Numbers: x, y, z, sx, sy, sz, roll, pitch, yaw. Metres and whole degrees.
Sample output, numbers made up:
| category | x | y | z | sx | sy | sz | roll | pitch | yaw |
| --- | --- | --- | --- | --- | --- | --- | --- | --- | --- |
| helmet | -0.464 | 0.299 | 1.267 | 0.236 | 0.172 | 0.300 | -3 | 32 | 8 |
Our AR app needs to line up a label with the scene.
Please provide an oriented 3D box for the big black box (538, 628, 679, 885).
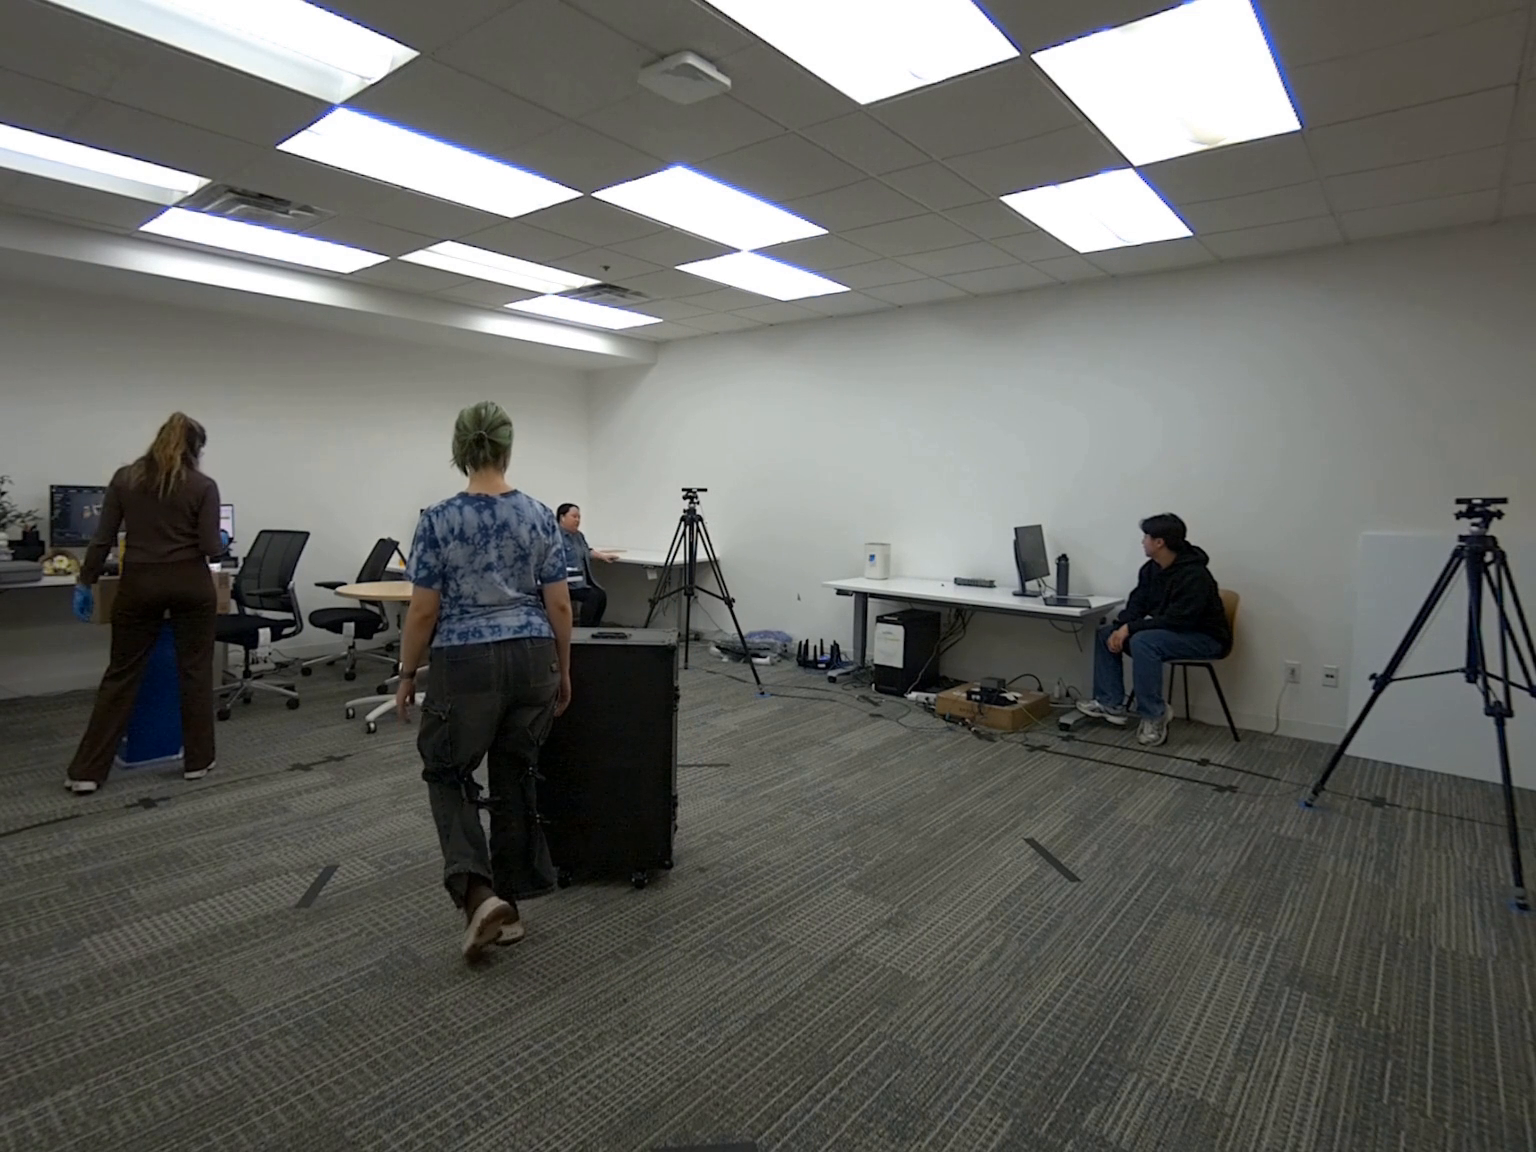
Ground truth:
| category | x | y | z | sx | sy | sz | roll | pitch | yaw |
| --- | --- | --- | --- | --- | --- | --- | --- | --- | --- |
| big black box | -0.590 | 0.640 | 3.112 | 0.522 | 0.861 | 0.396 | 1 | 1 | 0 |
